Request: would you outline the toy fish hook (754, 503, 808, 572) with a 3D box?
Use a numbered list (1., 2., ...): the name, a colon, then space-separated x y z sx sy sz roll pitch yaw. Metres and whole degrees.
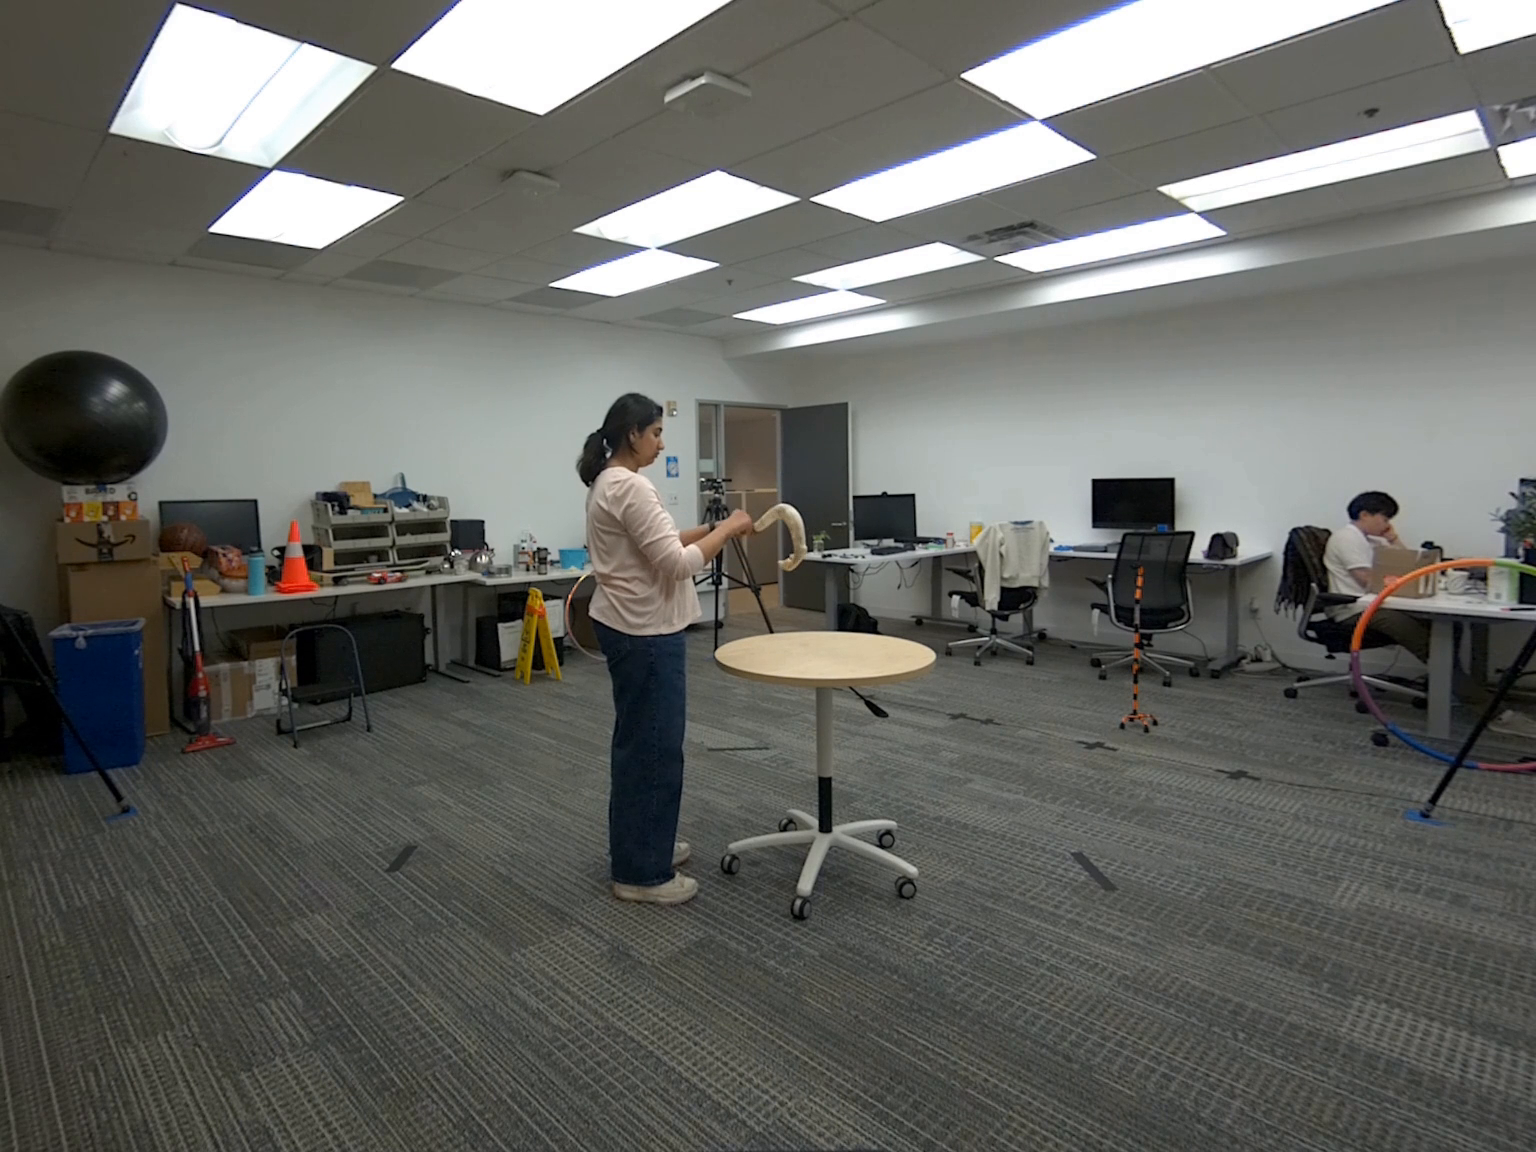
1. toy fish hook: -0.006 -0.124 2.990 0.047 0.225 0.517 -6 1 -27
